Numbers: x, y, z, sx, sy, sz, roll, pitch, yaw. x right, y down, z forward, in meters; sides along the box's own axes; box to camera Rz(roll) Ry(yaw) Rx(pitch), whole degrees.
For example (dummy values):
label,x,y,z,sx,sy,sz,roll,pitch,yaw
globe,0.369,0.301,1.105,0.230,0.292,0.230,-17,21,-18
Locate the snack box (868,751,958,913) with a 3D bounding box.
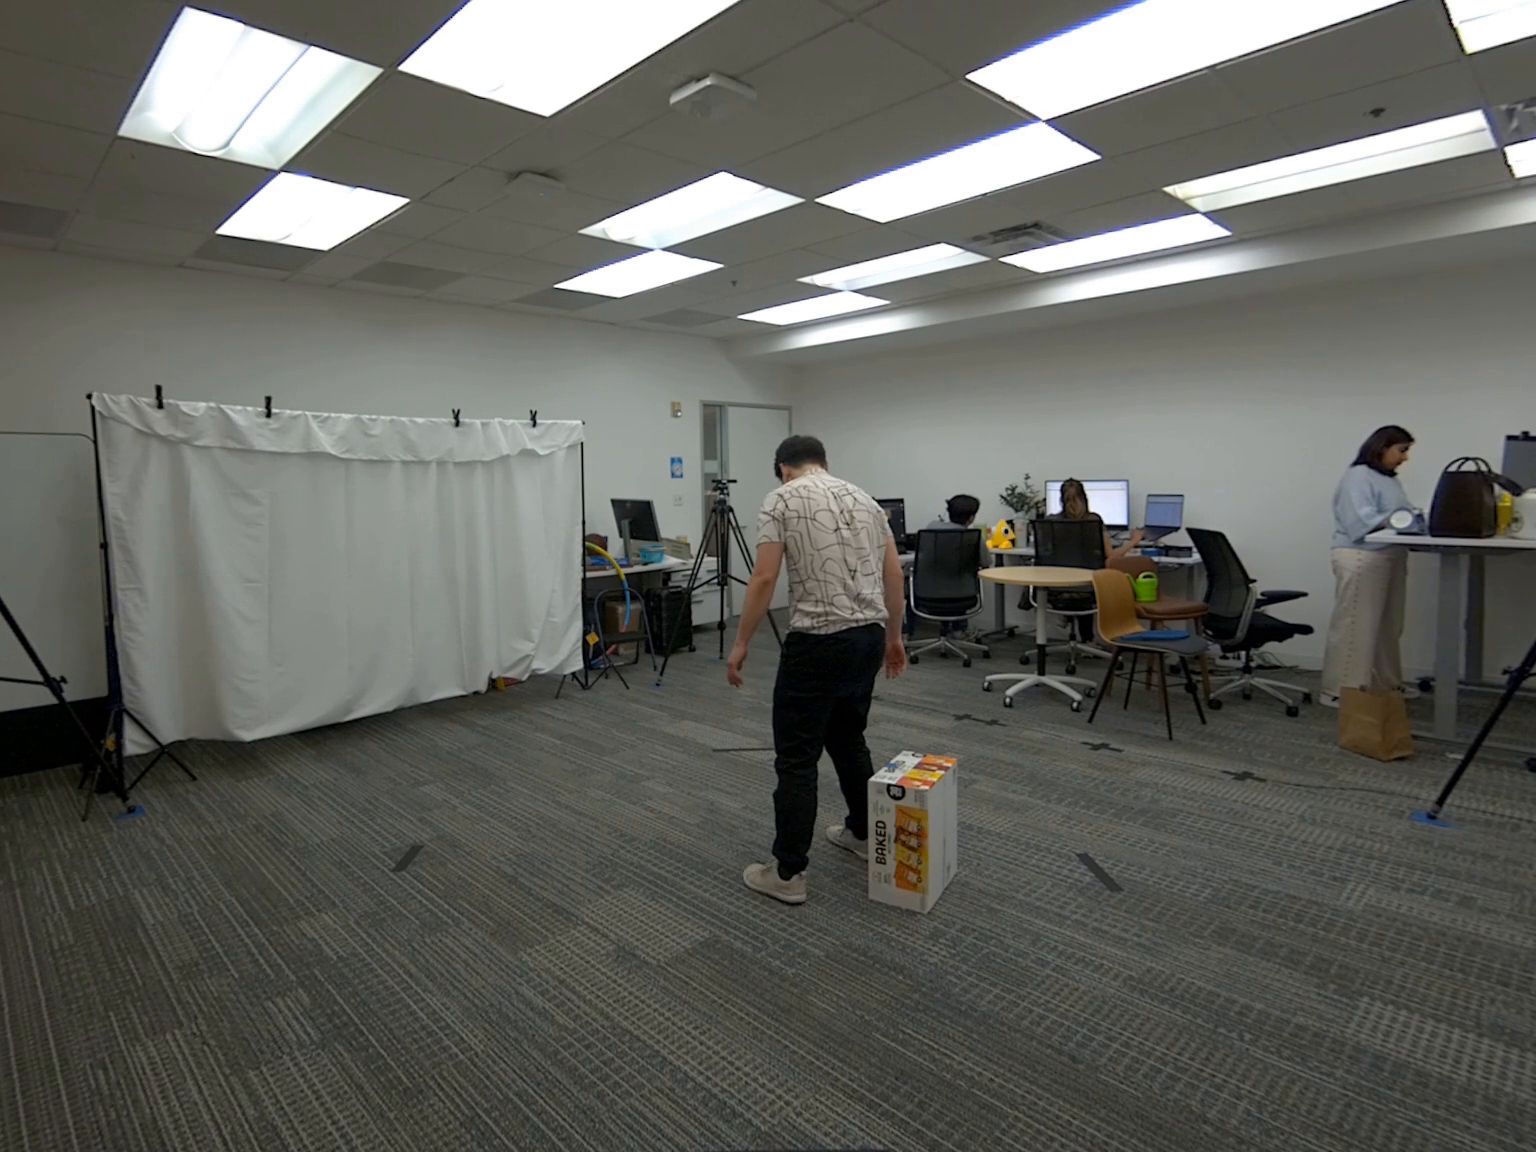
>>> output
label,x,y,z,sx,sy,sz,roll,pitch,yaw
snack box,0.502,0.856,2.908,0.211,0.404,0.333,1,5,30
